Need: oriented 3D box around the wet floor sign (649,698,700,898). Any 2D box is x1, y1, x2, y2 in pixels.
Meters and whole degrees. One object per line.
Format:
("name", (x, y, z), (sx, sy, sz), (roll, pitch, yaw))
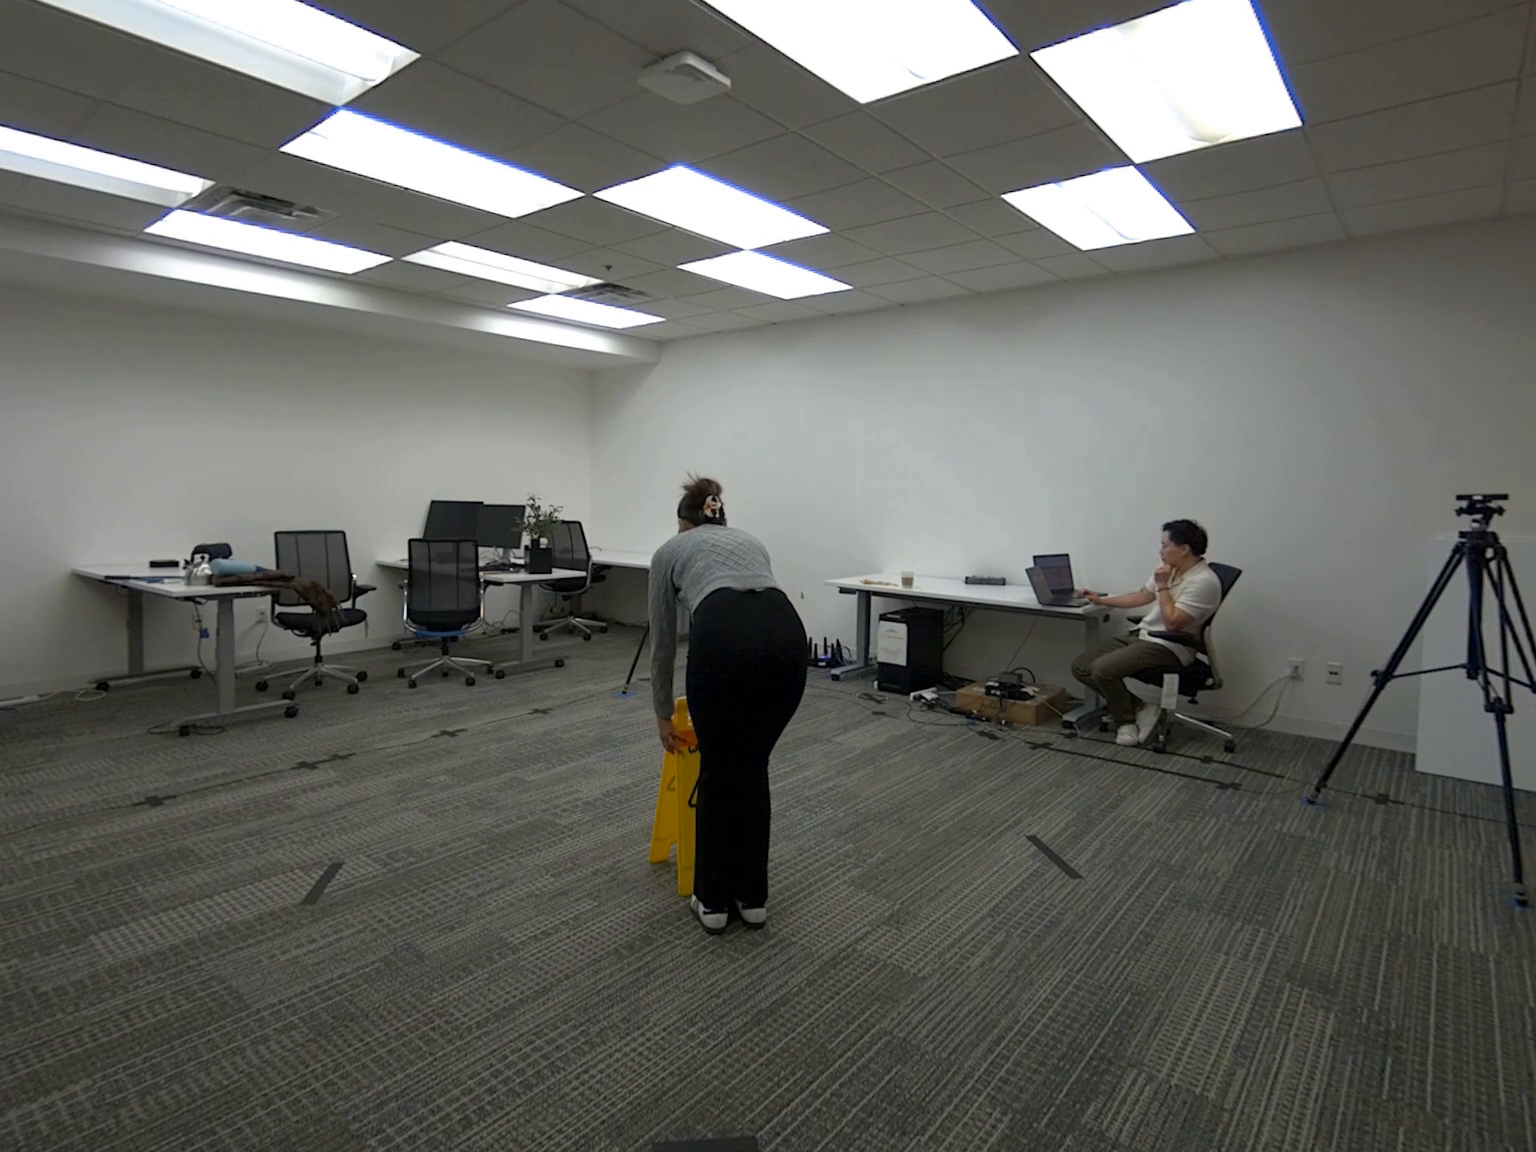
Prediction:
("wet floor sign", (-0.257, 0.740, 3.065), (0.275, 0.645, 0.298), (1, 2, -28))
